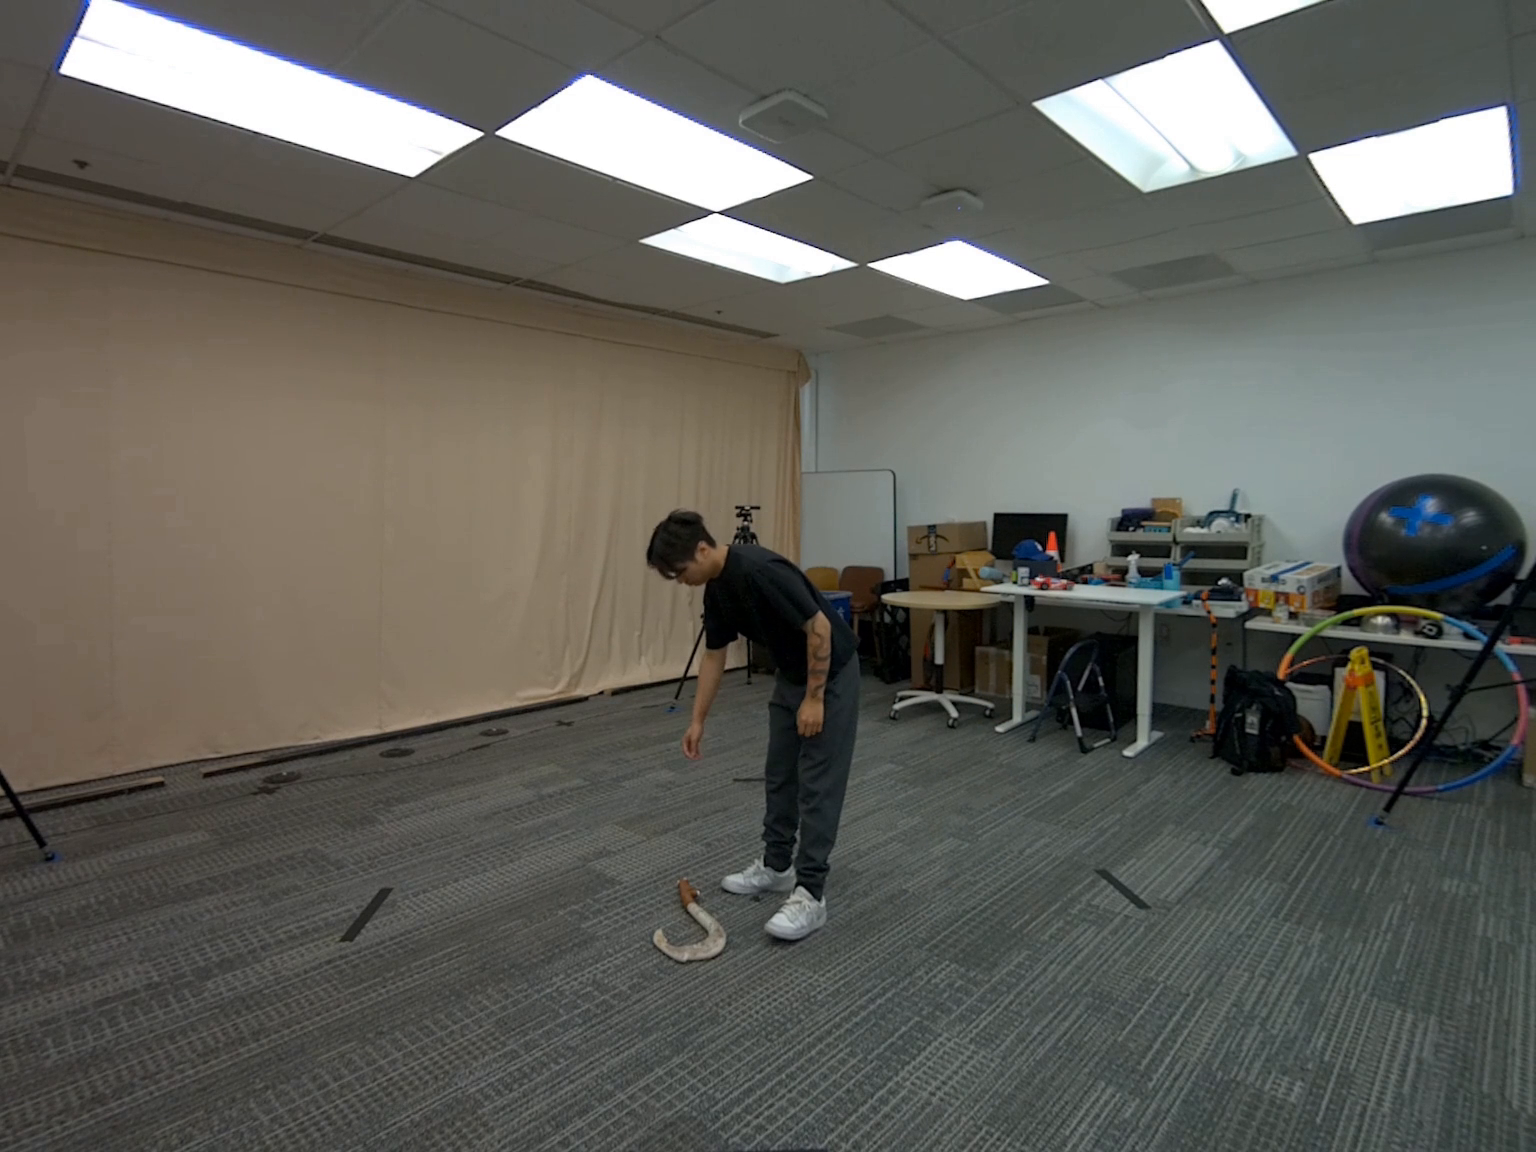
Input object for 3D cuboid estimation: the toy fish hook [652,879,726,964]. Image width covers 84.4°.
[{"bbox_3d":[-0.286,1.136,2.807,0.221,0.048,0.516,0,4,-17],"label":"toy fish hook"}]
